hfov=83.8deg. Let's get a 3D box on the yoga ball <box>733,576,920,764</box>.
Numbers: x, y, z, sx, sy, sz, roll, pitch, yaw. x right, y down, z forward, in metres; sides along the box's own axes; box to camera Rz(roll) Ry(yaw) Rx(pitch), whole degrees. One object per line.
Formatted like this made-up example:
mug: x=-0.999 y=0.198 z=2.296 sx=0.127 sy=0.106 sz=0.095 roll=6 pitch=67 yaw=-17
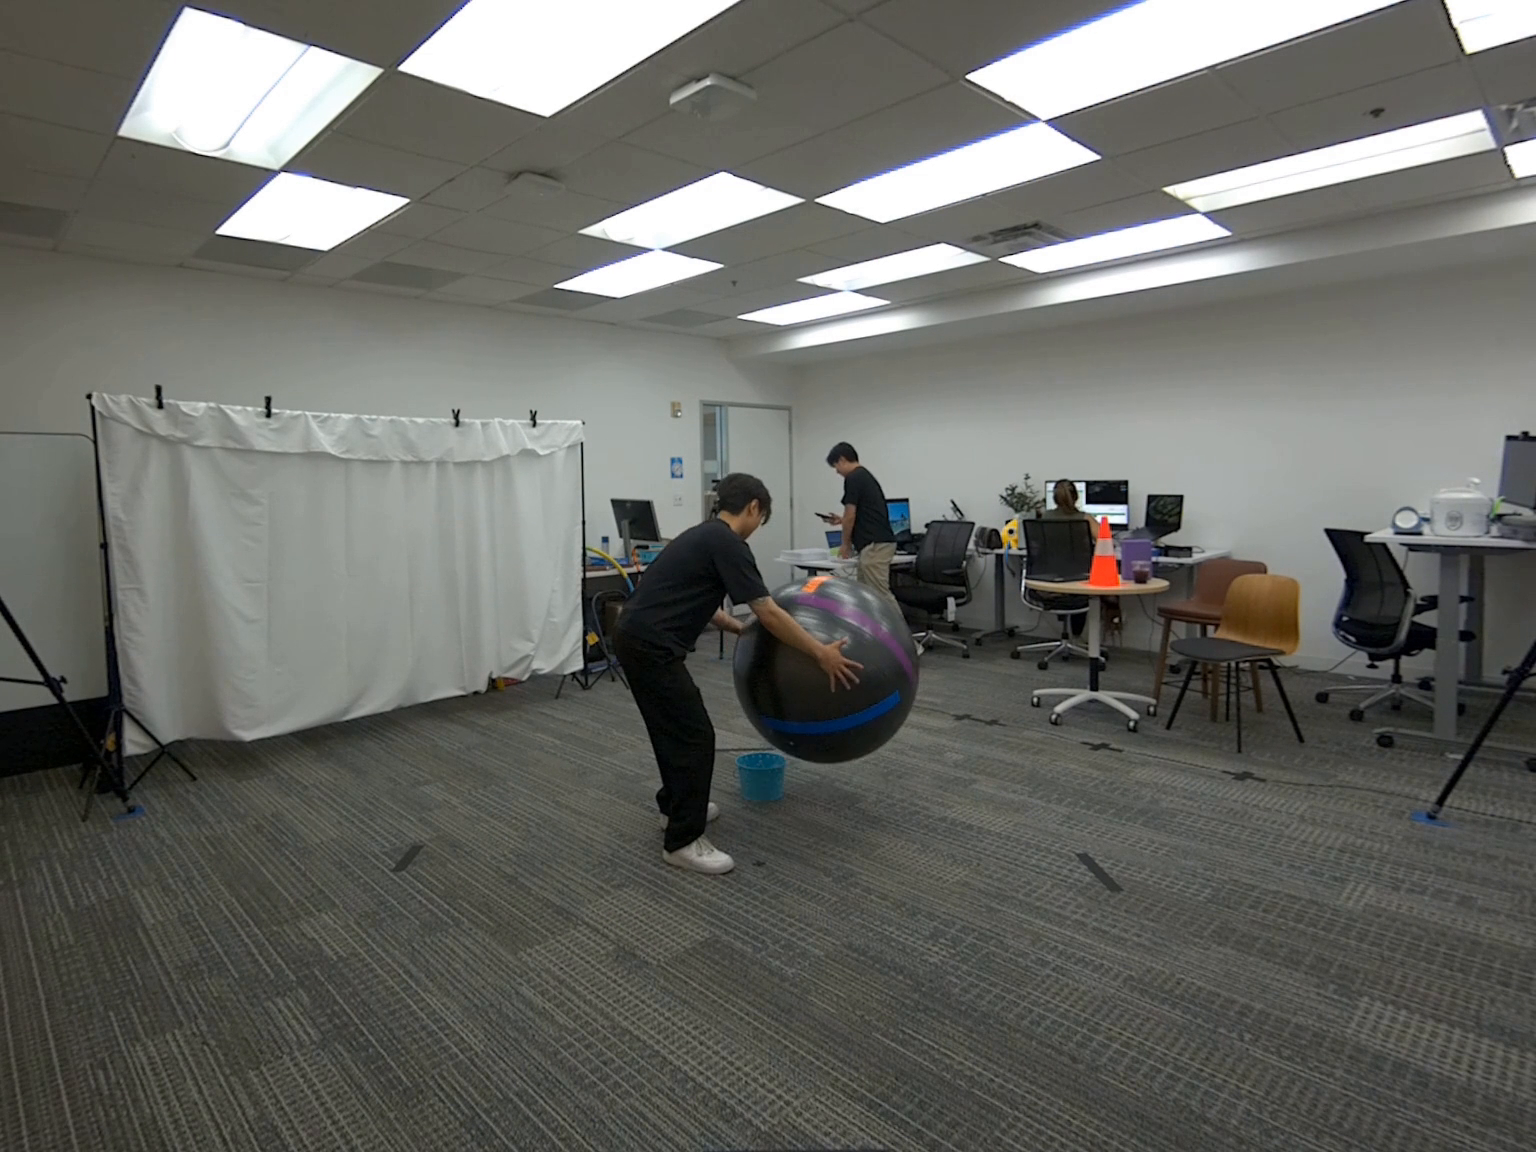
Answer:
yoga ball: x=0.229 y=0.394 z=3.524 sx=0.757 sy=0.755 sz=0.762 roll=-1 pitch=5 yaw=-2
